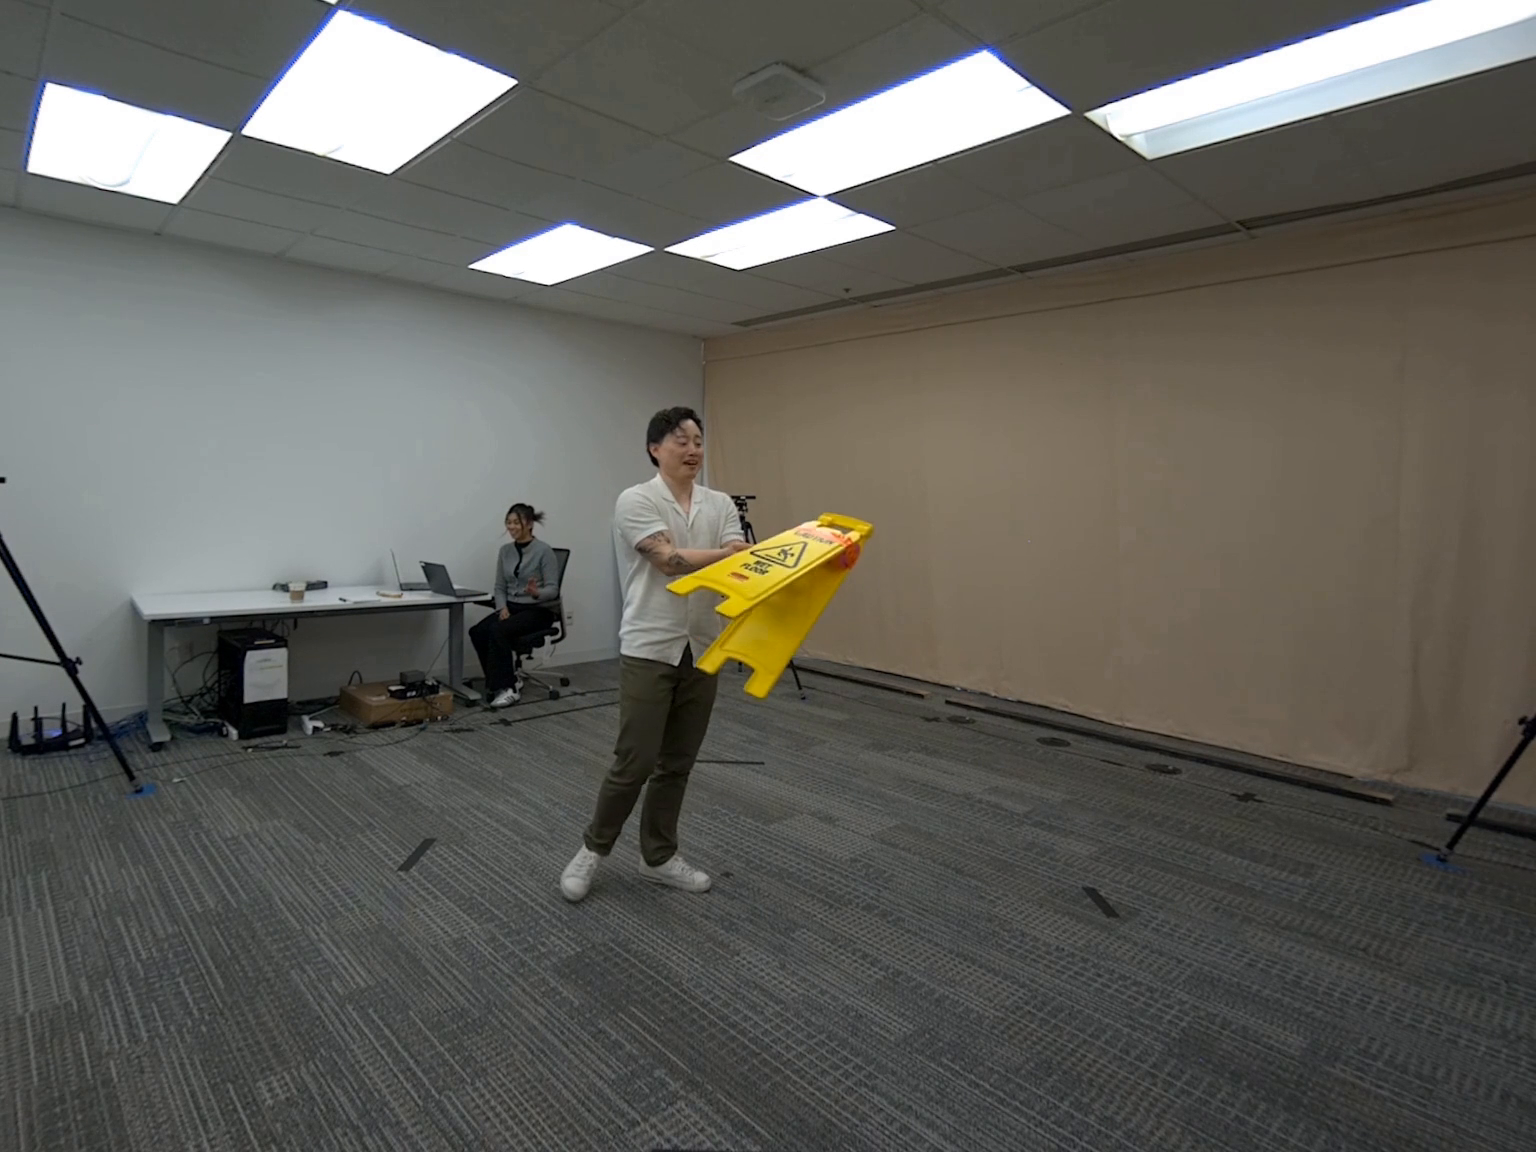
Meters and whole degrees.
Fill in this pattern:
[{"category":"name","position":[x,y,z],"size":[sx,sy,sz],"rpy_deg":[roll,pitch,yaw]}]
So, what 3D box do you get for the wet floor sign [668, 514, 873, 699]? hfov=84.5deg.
[{"category":"wet floor sign","position":[0.048,0.010,2.509],"size":[0.290,0.282,0.644],"rpy_deg":[18,48,40]}]
